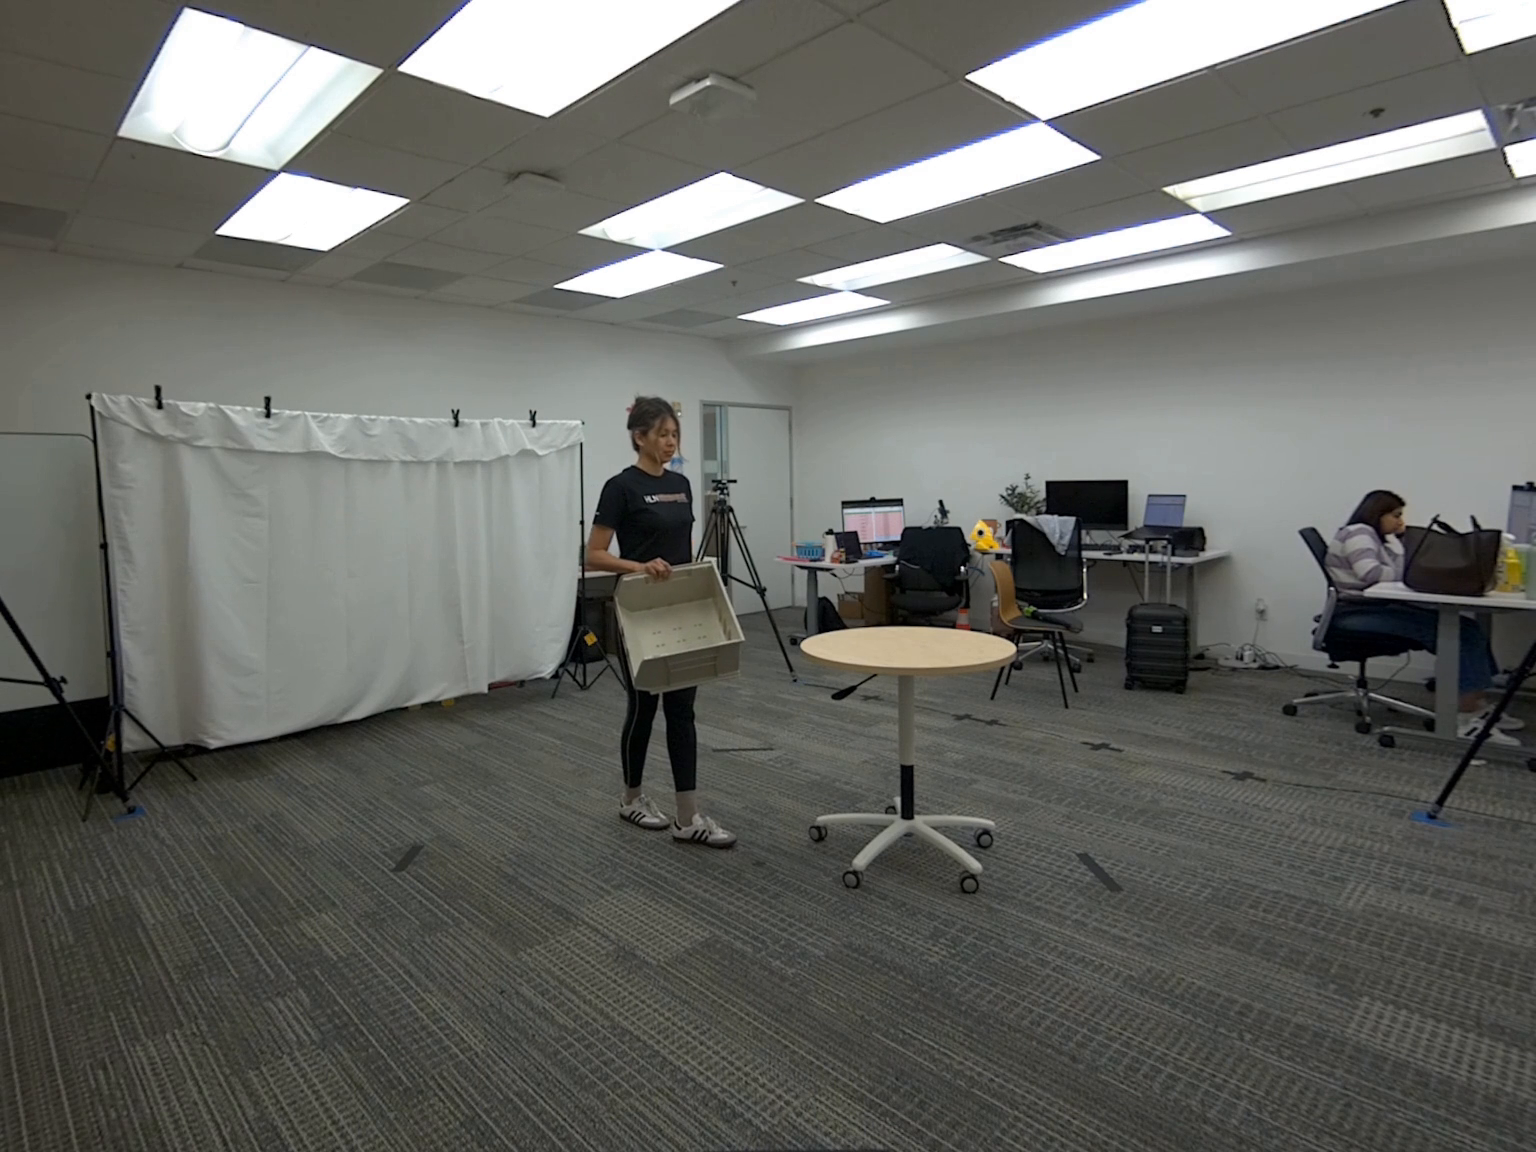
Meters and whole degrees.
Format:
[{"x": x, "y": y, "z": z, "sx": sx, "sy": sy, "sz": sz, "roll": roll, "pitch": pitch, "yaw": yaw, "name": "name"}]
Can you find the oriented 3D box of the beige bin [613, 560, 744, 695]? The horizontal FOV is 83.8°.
[{"x": -0.315, "y": 0.173, "z": 2.980, "sx": 0.374, "sy": 0.184, "sz": 0.438, "roll": -9, "pitch": 41, "yaw": -12, "name": "beige bin"}]
